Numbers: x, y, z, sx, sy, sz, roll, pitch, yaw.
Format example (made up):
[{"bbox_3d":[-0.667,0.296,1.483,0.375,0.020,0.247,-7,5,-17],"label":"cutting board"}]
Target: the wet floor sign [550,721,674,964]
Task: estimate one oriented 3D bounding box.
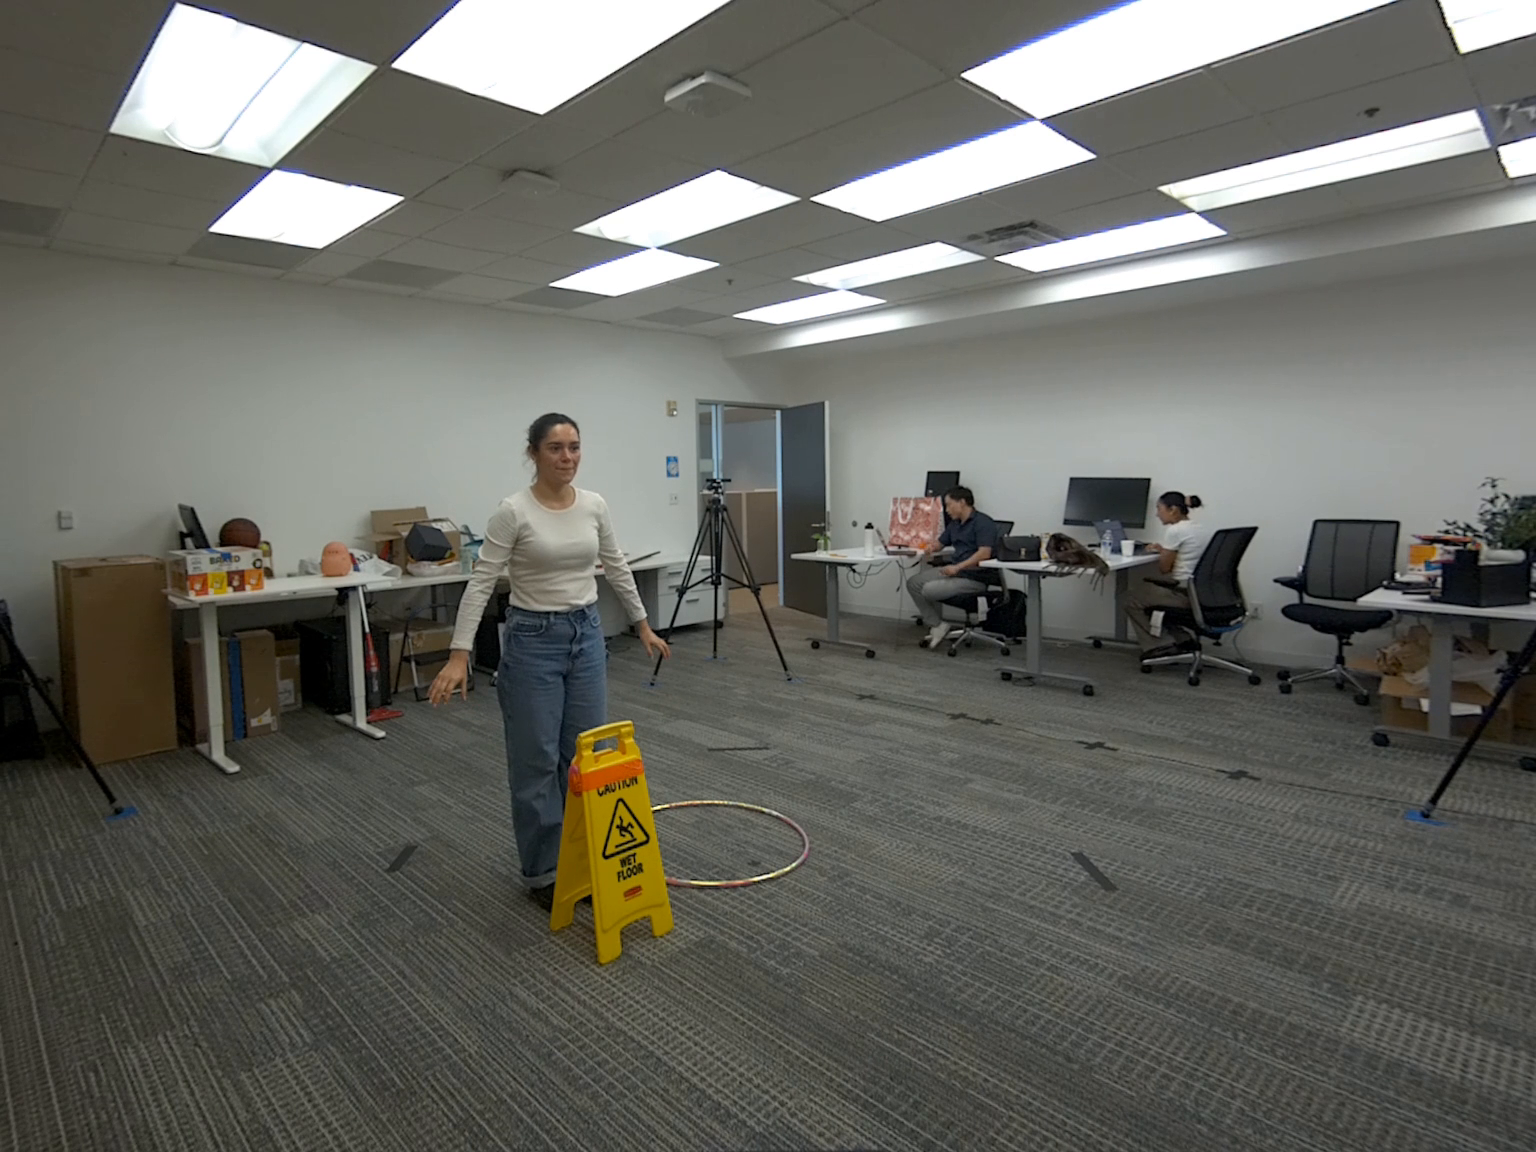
[{"bbox_3d":[-0.489,0.783,2.641,0.275,0.643,0.299,-6,8,-44],"label":"wet floor sign"}]
